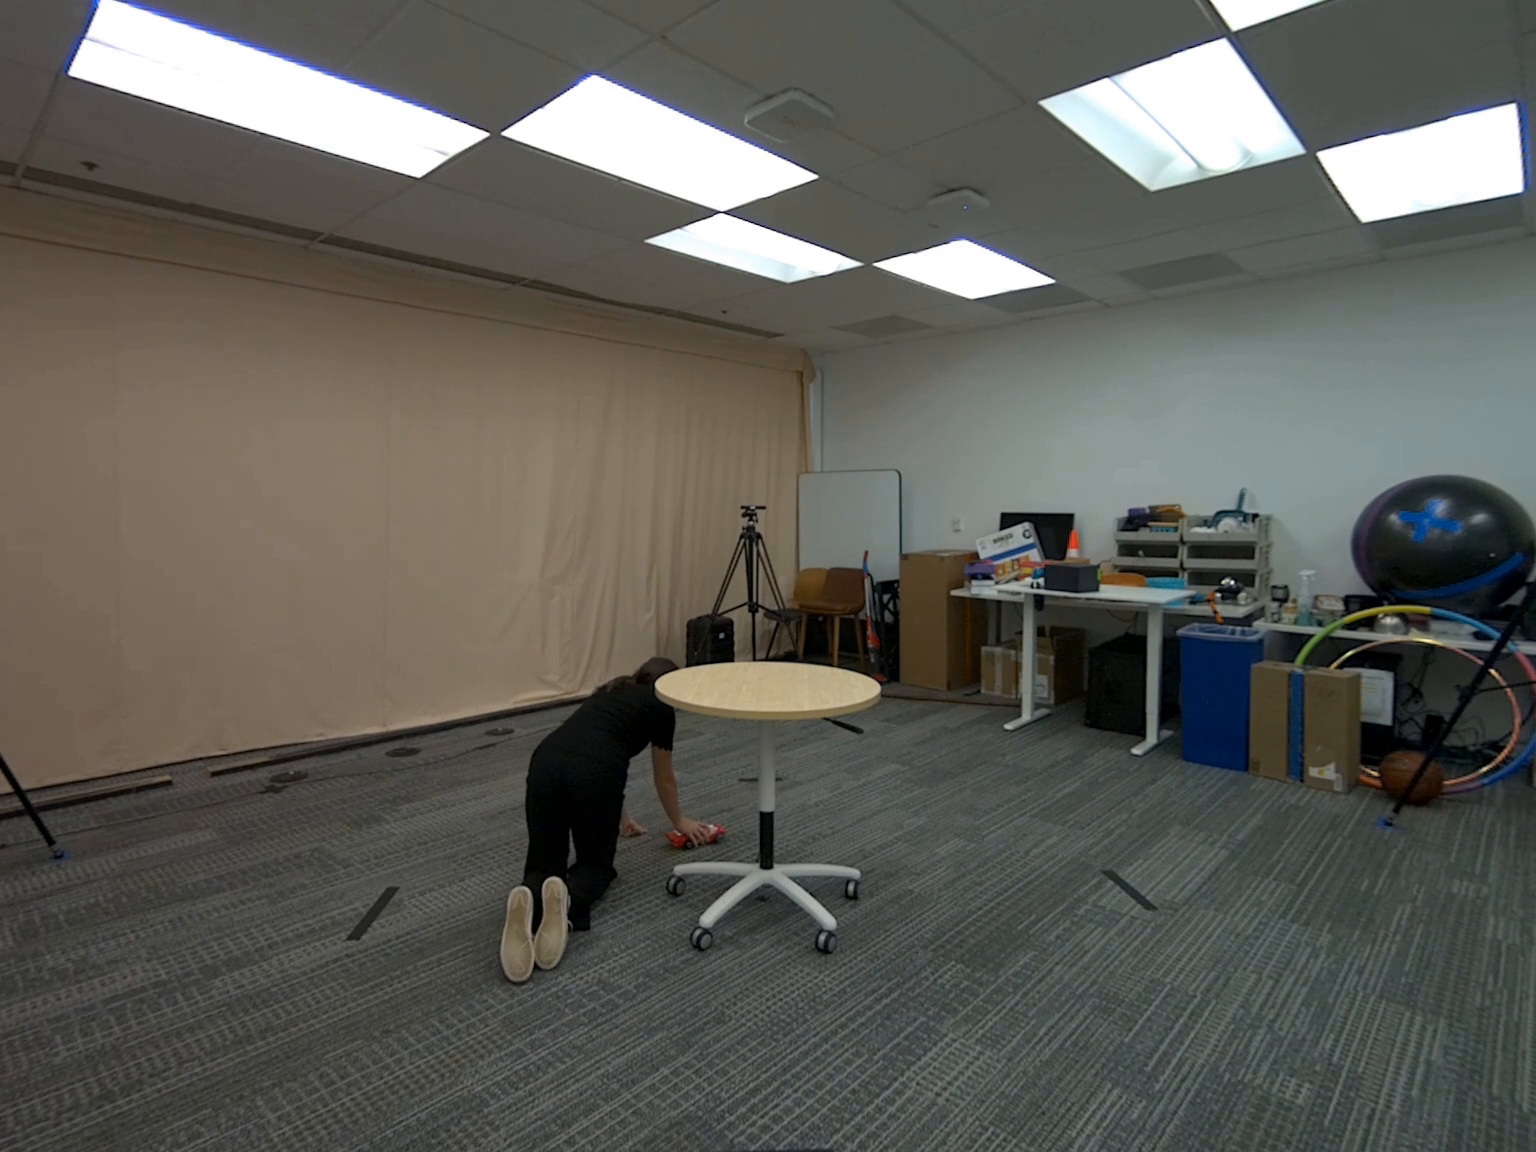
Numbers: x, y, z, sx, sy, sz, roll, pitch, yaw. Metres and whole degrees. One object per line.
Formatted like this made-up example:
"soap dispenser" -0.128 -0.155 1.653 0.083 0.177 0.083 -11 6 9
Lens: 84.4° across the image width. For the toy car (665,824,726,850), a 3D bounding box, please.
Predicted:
"toy car" -0.305 1.076 3.481 0.248 0.083 0.134 9 -1 -25
